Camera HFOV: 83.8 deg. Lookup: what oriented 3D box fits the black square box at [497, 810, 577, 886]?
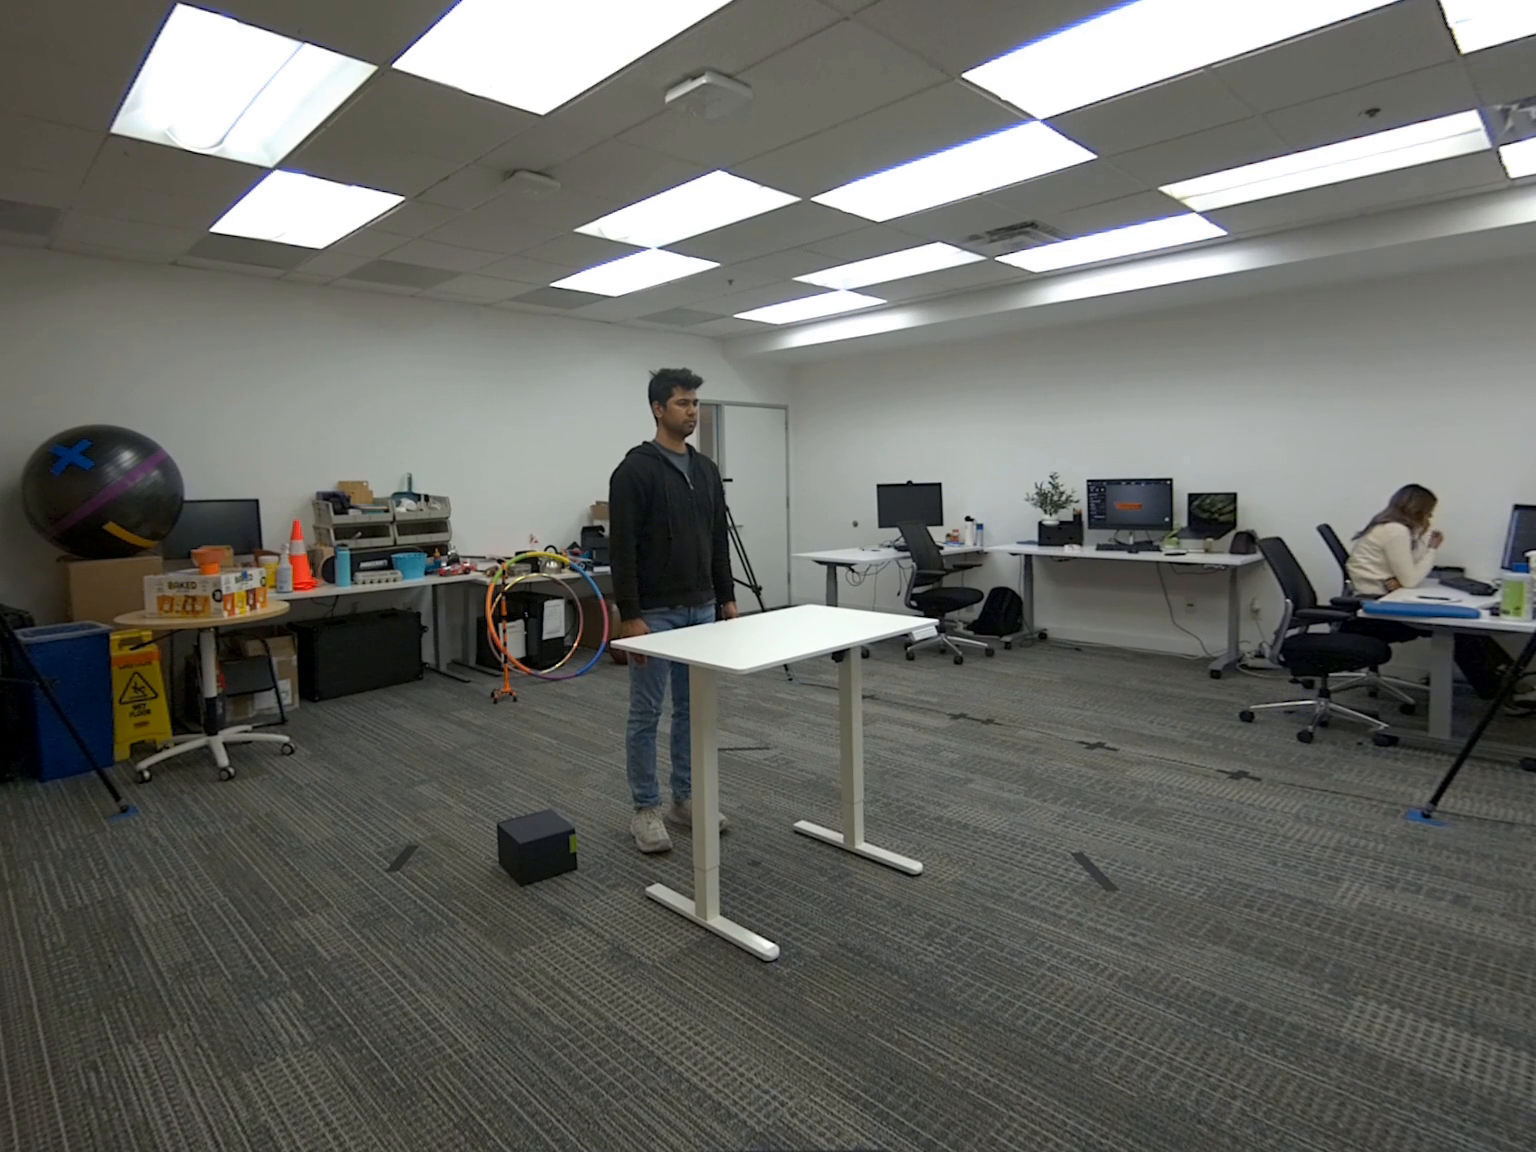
[{"bbox_3d":[-0.835,0.976,3.103,0.211,0.155,0.235,-6,7,-37],"label":"black square box"}]
